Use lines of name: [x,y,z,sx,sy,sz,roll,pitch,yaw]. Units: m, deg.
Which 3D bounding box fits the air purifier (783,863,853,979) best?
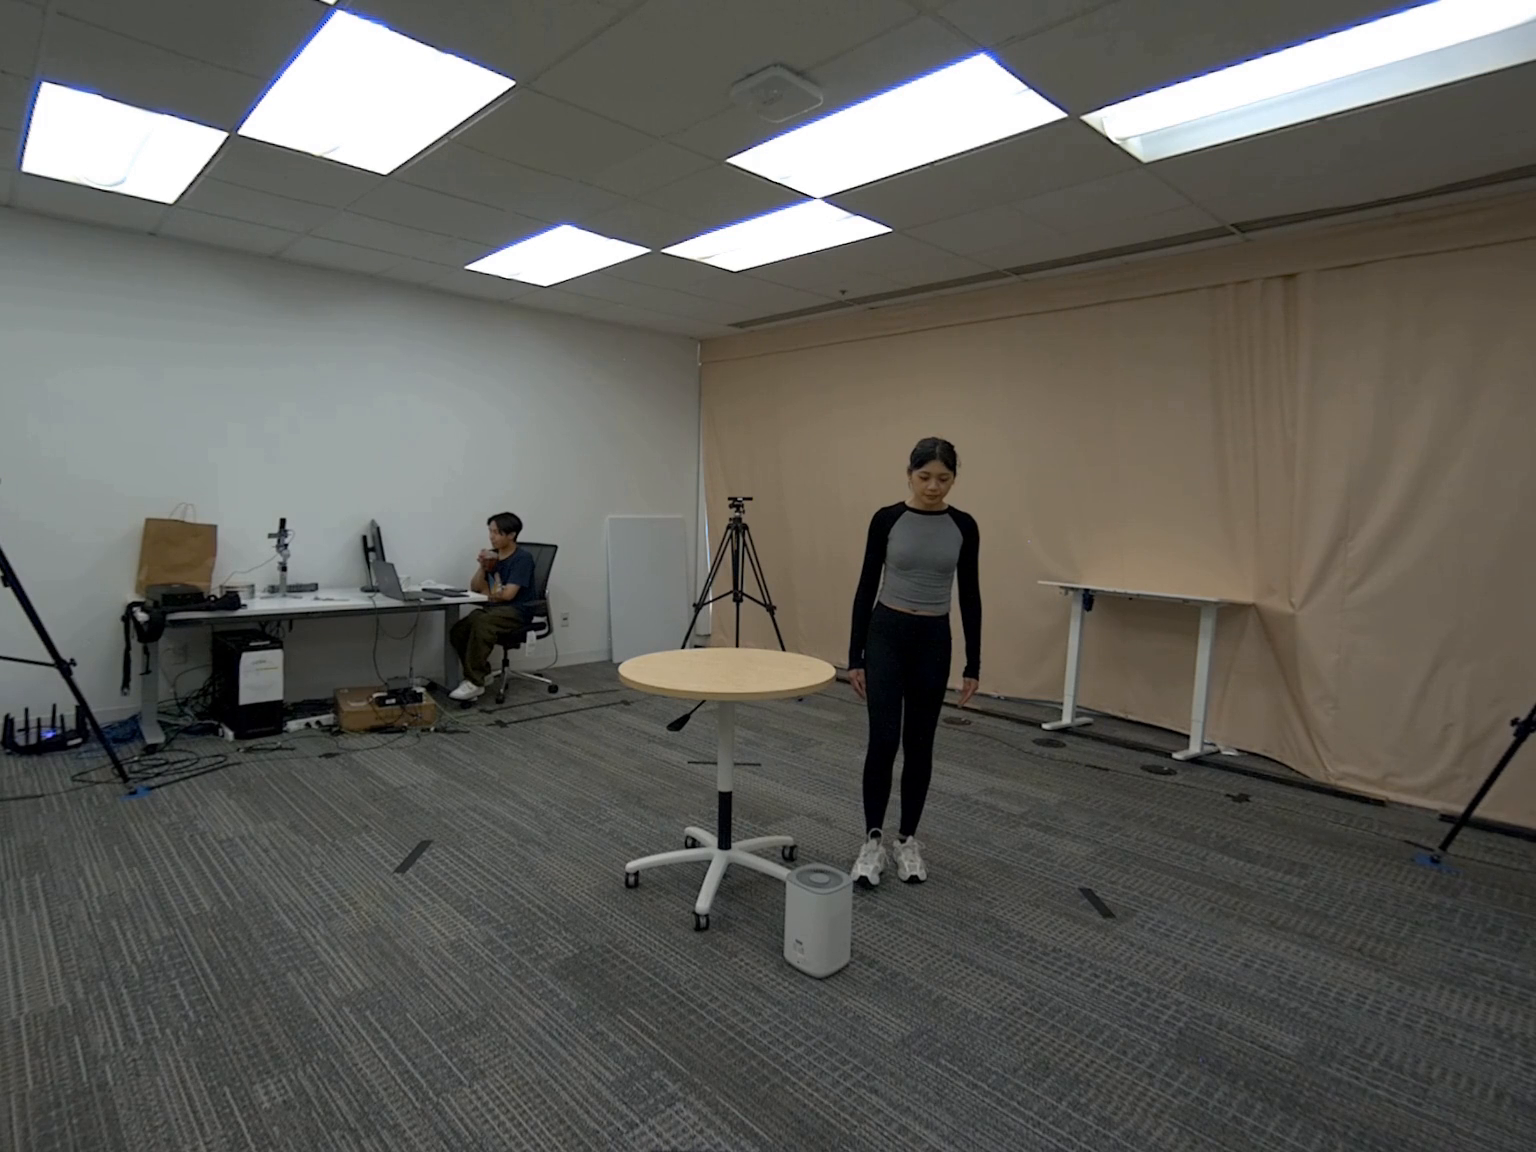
air purifier: [0.146,1.035,2.523,0.175,0.265,0.168,5,5,42]
